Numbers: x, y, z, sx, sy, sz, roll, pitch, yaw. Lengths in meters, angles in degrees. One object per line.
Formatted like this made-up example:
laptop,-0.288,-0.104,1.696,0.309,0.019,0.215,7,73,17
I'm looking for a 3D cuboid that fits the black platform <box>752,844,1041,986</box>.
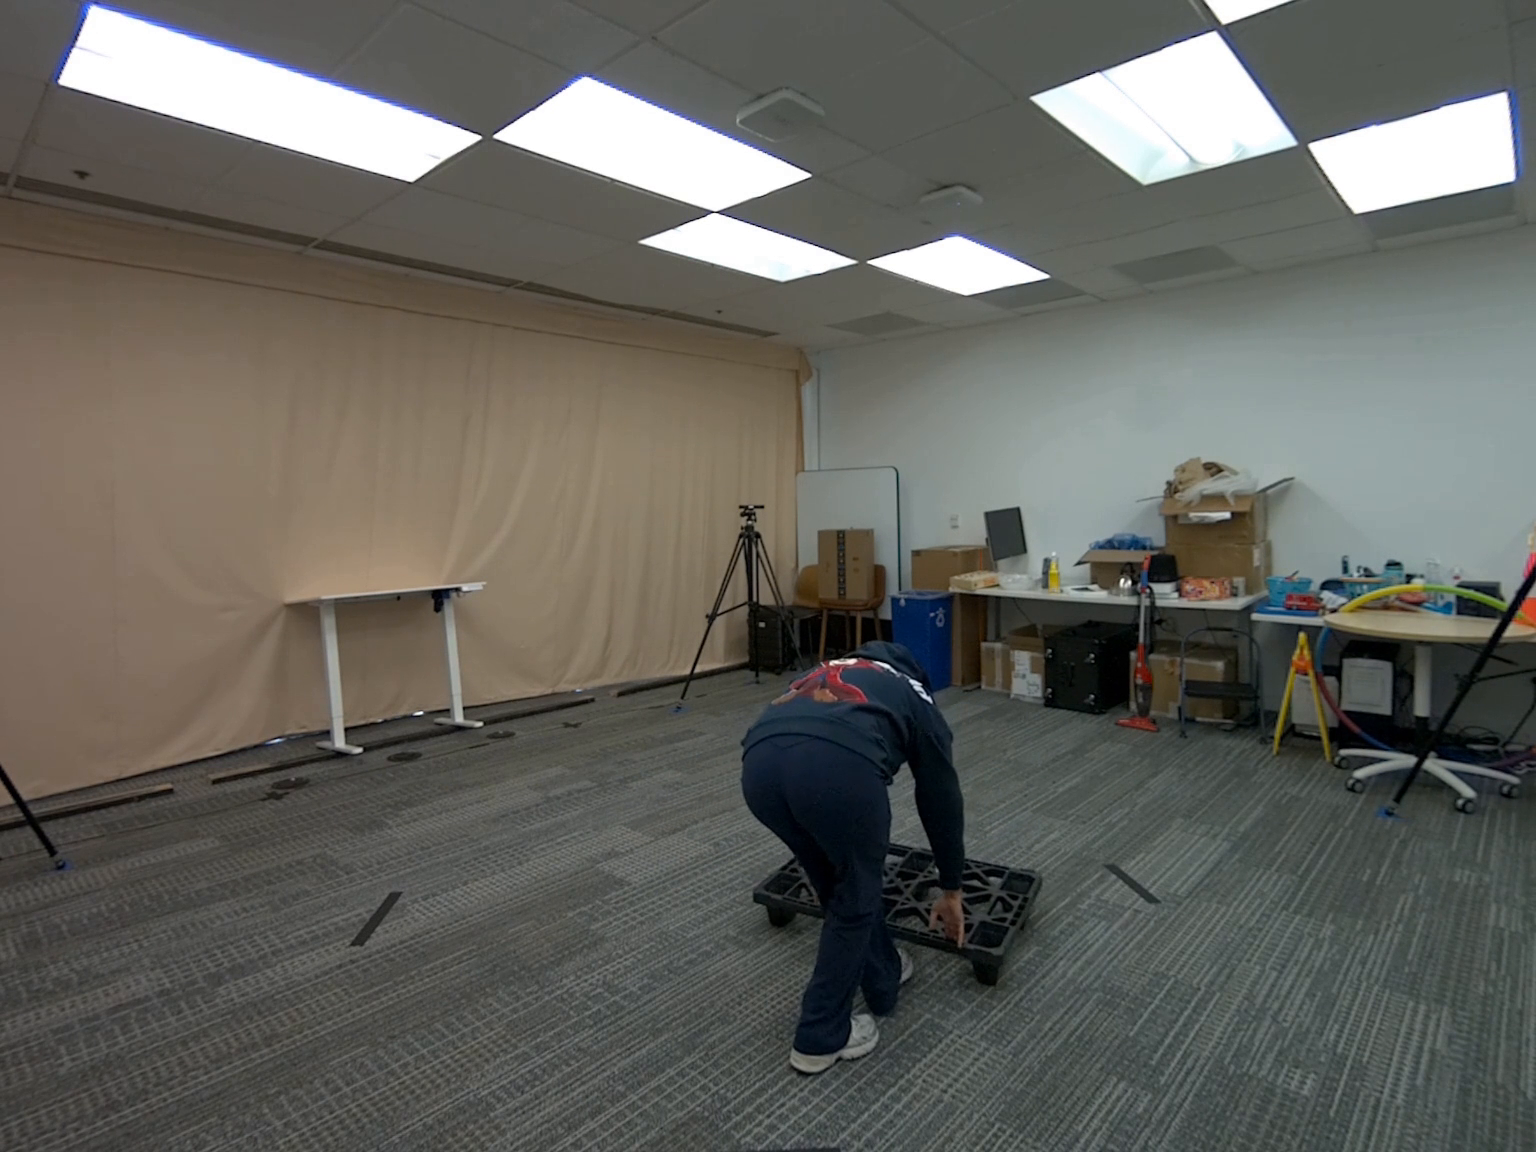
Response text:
black platform,0.441,1.083,2.787,0.829,0.143,0.589,2,6,30
